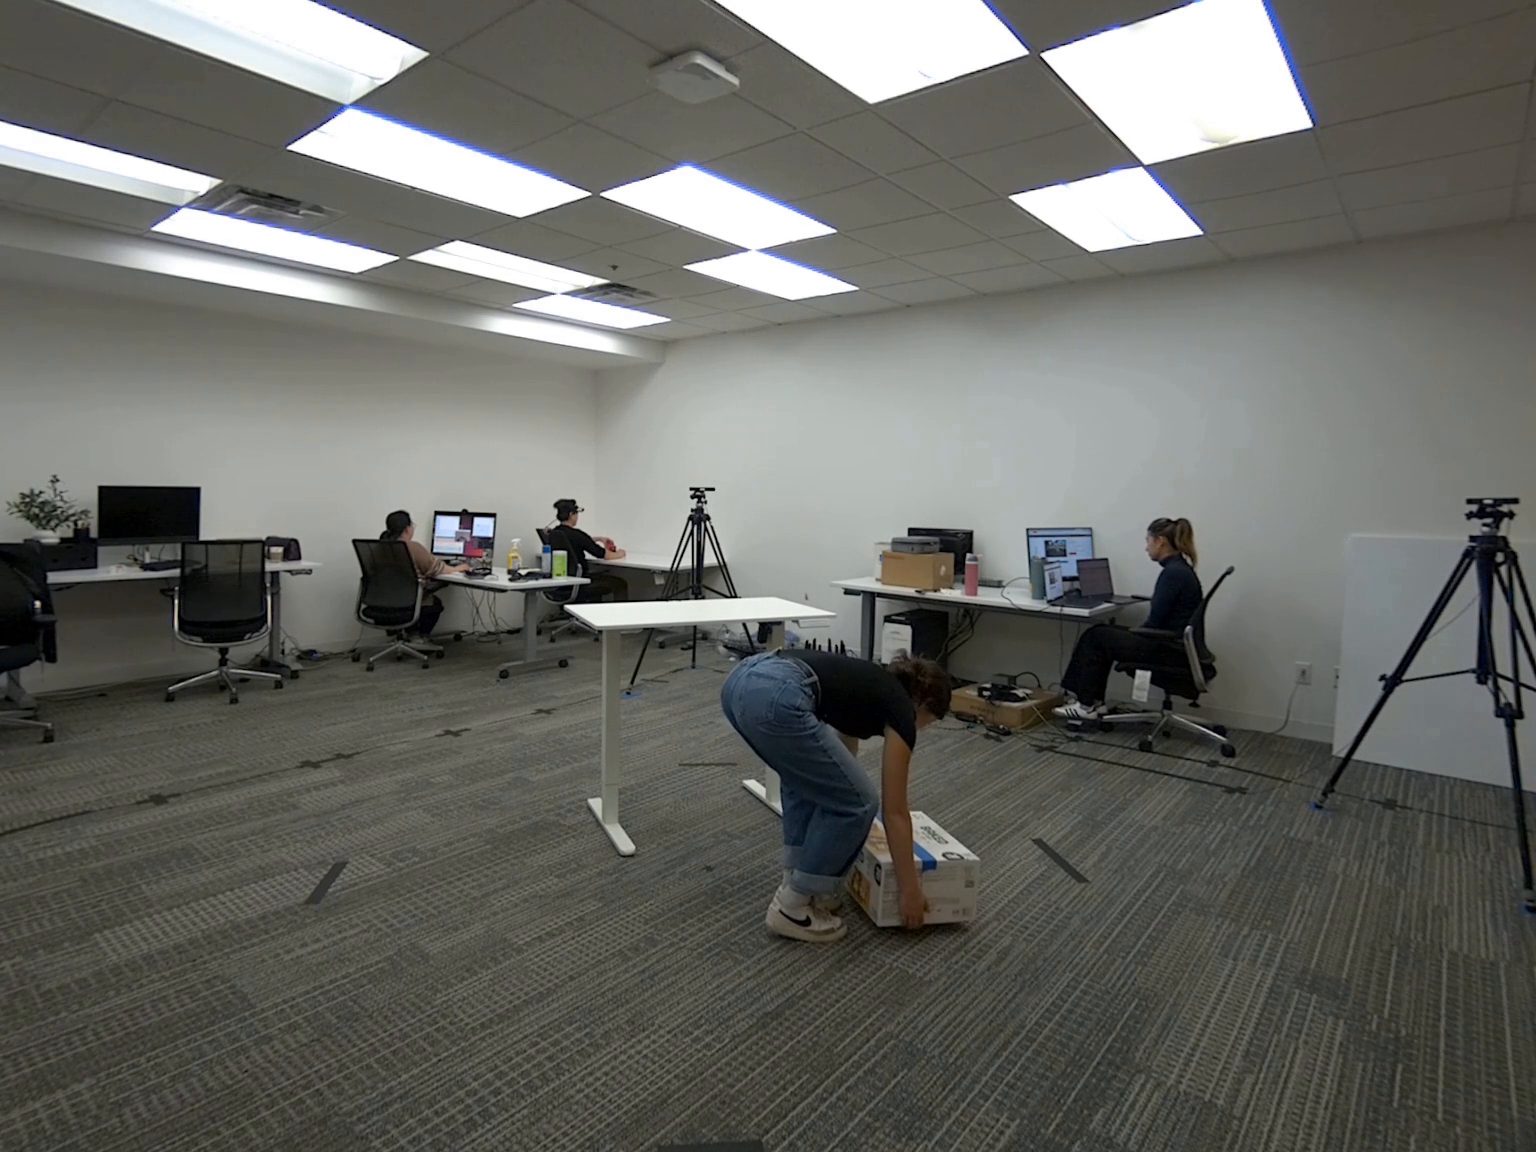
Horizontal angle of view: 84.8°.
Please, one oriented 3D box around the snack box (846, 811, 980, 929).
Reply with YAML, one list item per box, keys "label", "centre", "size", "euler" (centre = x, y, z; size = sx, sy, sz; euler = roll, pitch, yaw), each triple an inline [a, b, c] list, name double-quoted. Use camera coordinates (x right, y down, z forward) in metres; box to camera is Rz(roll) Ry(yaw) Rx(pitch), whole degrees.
- label: "snack box"
  centre: [0.446, 0.964, 2.852]
  size: [0.335, 0.205, 0.414]
  euler: [2, 6, -16]
